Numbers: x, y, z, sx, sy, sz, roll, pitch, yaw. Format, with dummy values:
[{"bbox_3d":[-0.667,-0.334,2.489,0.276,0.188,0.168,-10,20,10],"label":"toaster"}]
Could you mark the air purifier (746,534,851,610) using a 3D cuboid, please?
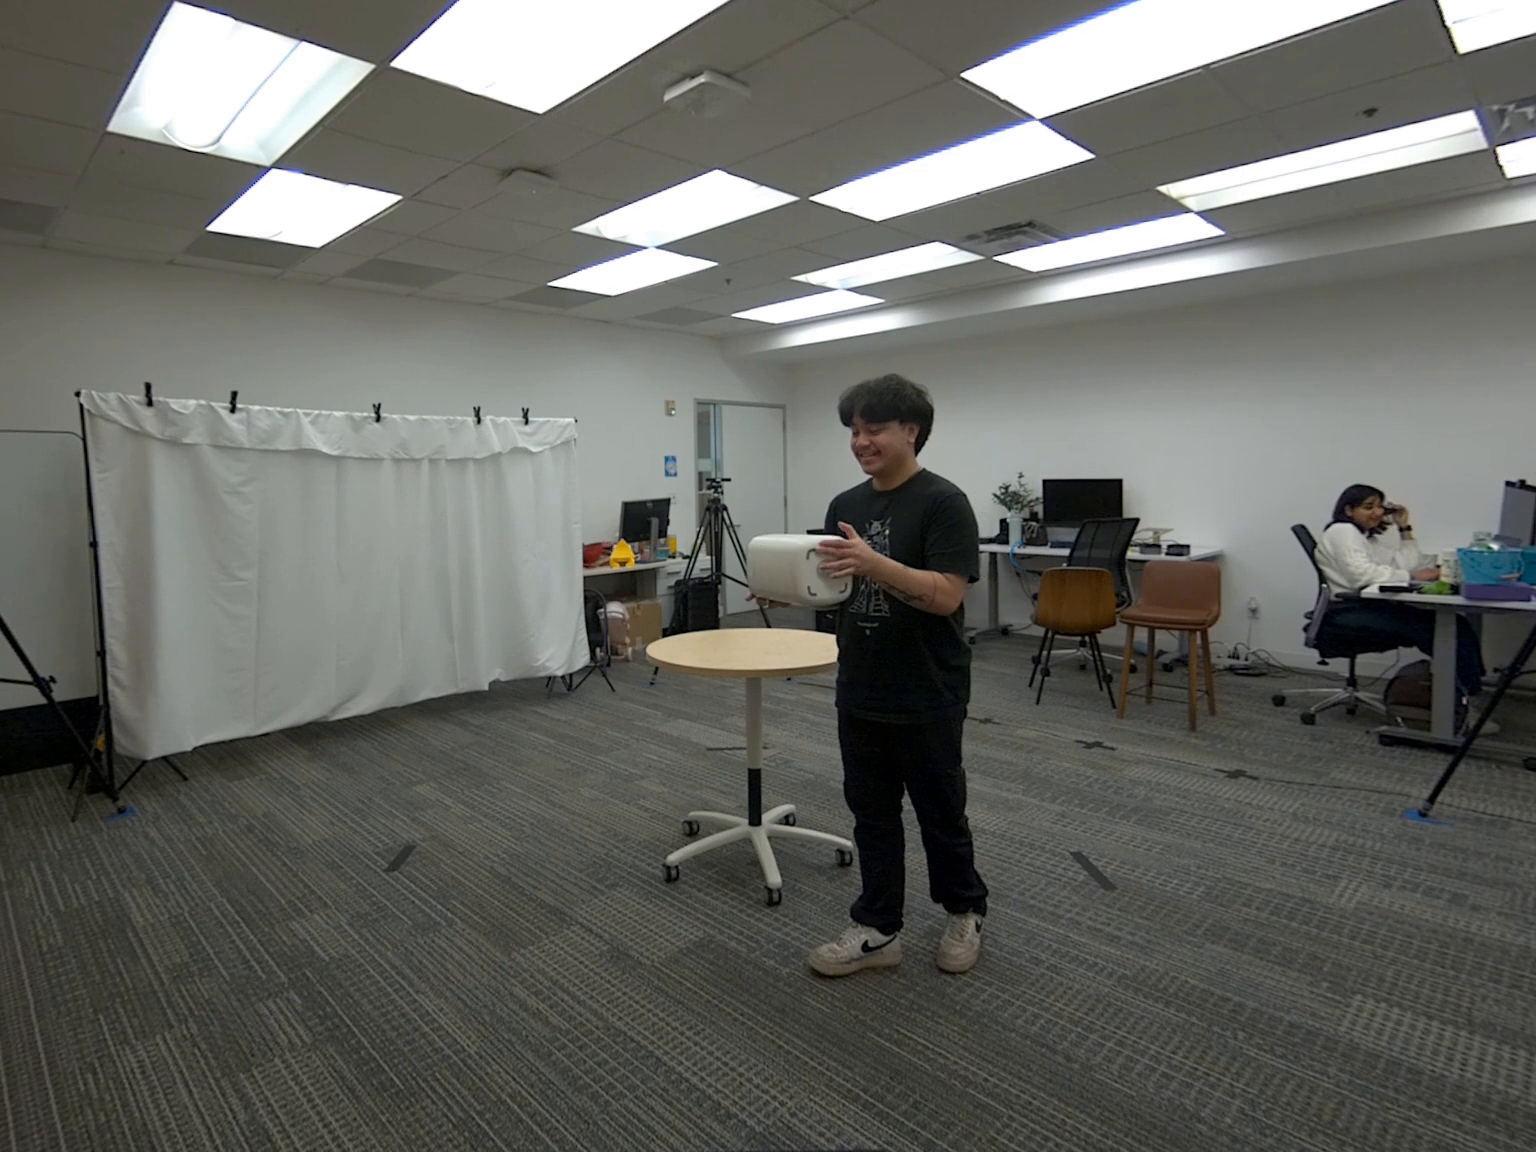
[{"bbox_3d":[0.090,-0.018,2.175,0.168,0.170,0.272,-2,4,-28],"label":"air purifier"}]
